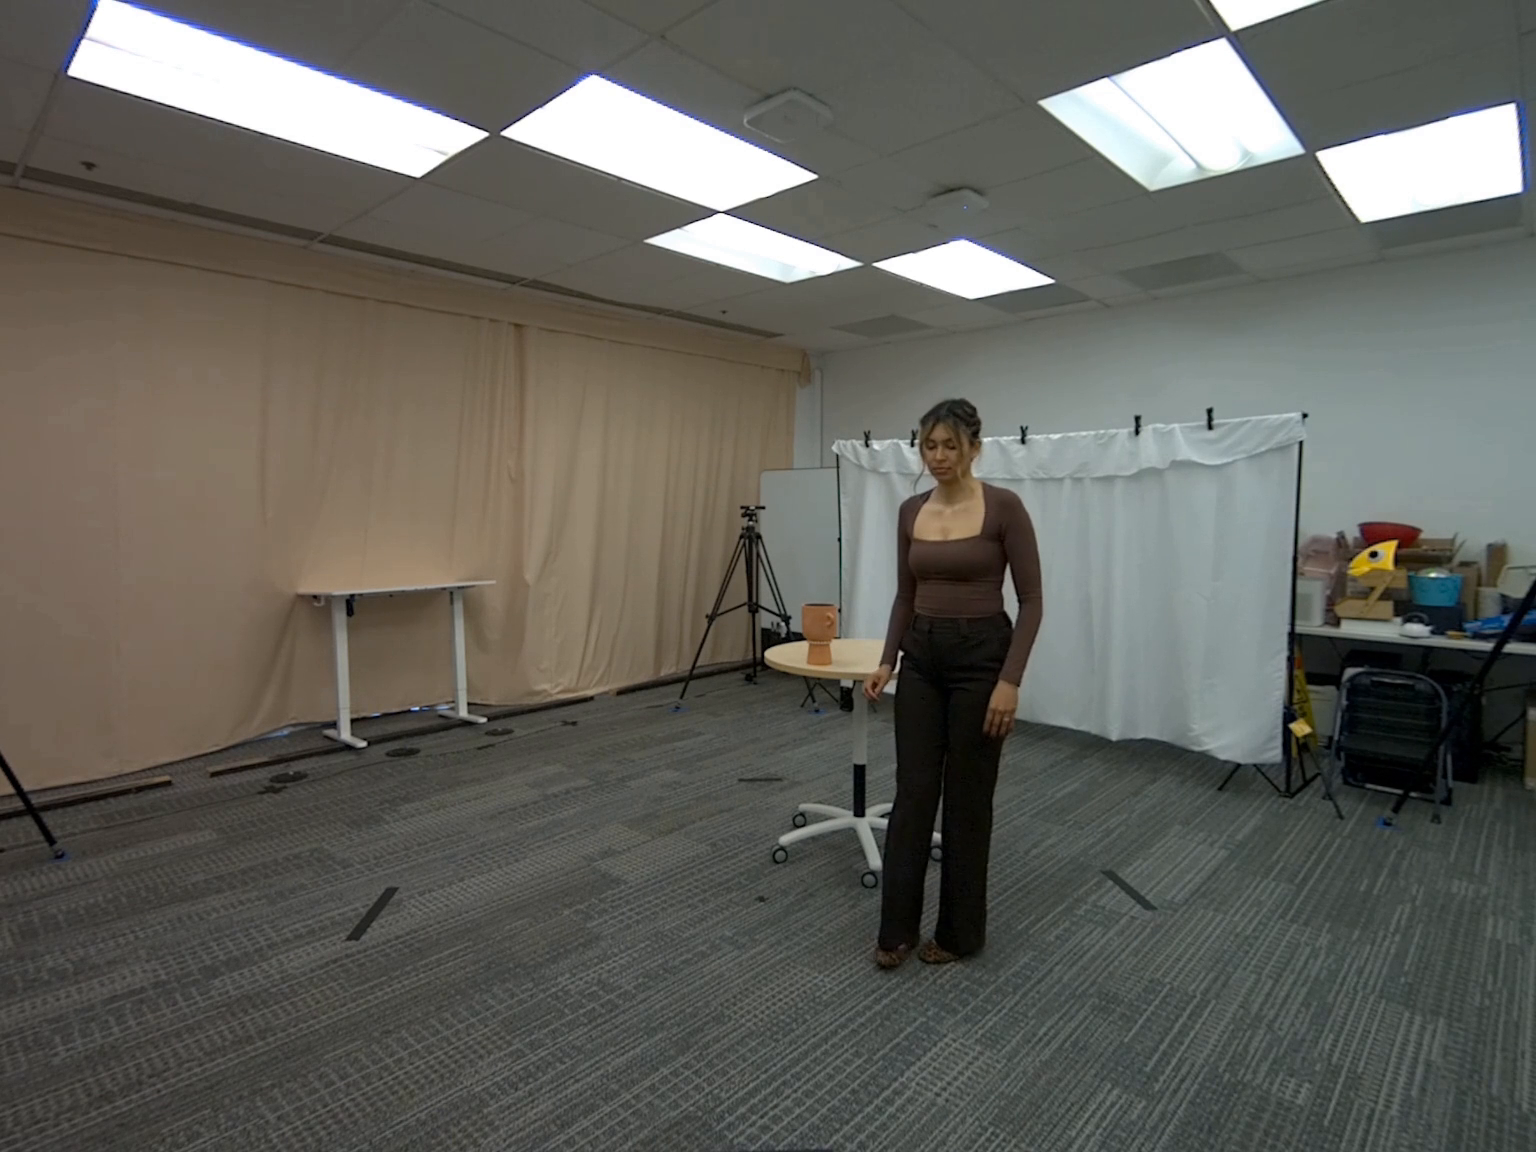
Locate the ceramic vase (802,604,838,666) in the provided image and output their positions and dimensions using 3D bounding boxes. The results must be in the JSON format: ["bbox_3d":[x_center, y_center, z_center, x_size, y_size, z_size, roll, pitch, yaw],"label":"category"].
[{"bbox_3d":[0.199,0.221,3.182,0.136,0.219,0.157,-1,4,12],"label":"ceramic vase"}]
